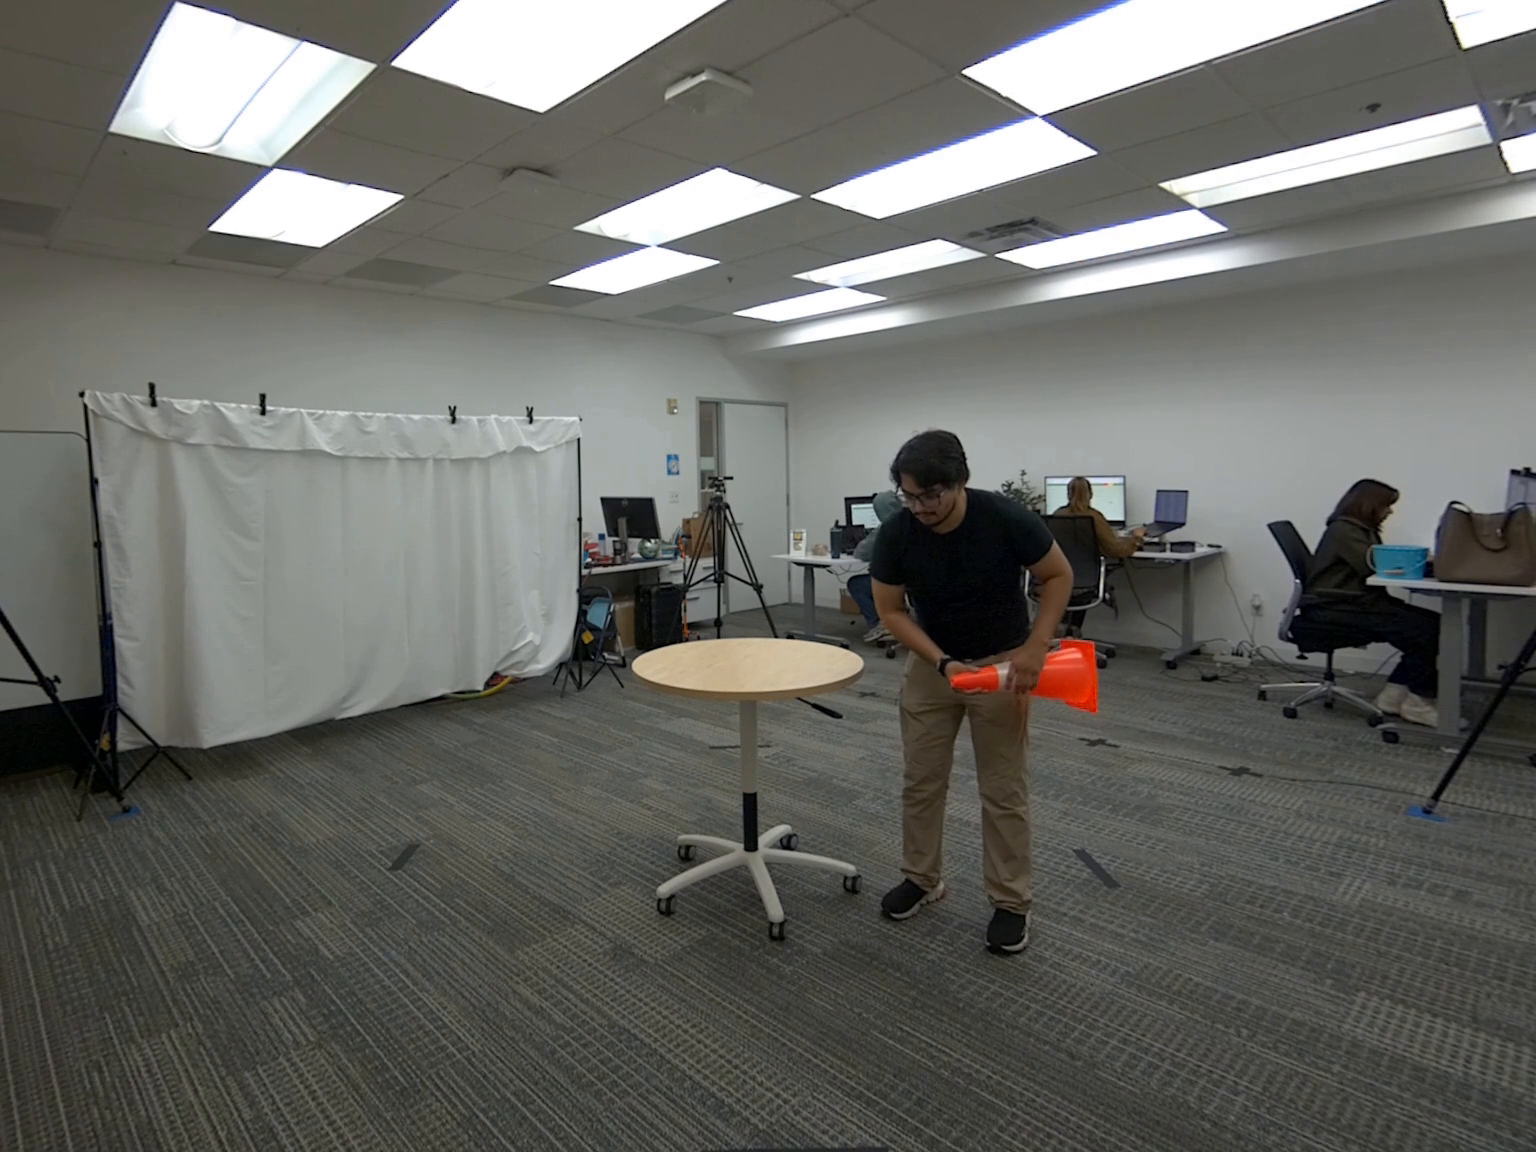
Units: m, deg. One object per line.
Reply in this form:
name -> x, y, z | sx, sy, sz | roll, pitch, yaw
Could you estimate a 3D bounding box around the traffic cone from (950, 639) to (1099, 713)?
traffic cone -> 0.722, 0.291, 2.494 | 0.385, 0.206, 0.201 | -2, -6, 3
